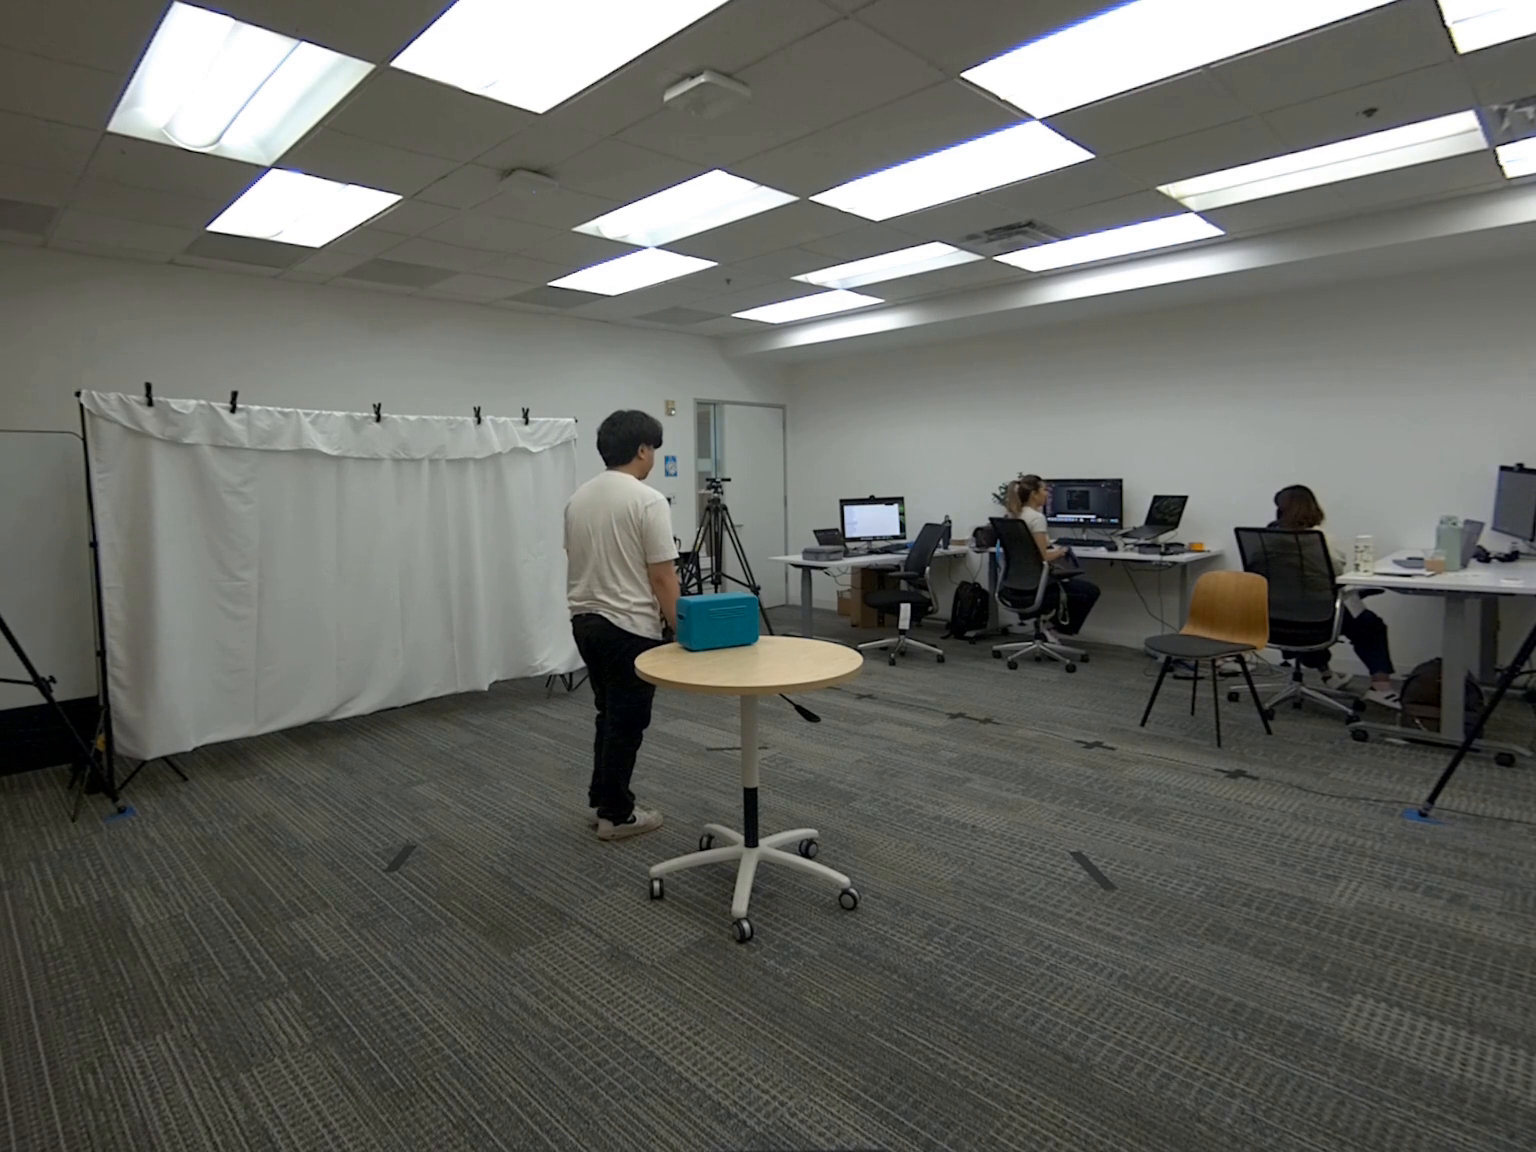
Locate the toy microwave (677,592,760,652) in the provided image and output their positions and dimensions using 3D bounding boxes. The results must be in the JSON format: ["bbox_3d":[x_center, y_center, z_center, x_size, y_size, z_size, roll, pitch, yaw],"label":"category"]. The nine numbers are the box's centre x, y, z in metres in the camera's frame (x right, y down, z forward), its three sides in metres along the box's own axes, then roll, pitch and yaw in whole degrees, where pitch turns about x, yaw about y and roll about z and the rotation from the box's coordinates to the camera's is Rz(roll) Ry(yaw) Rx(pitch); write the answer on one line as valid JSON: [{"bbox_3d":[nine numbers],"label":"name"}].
[{"bbox_3d":[-0.184,0.160,3.091,0.280,0.183,0.156,-4,5,-27],"label":"toy microwave"}]
